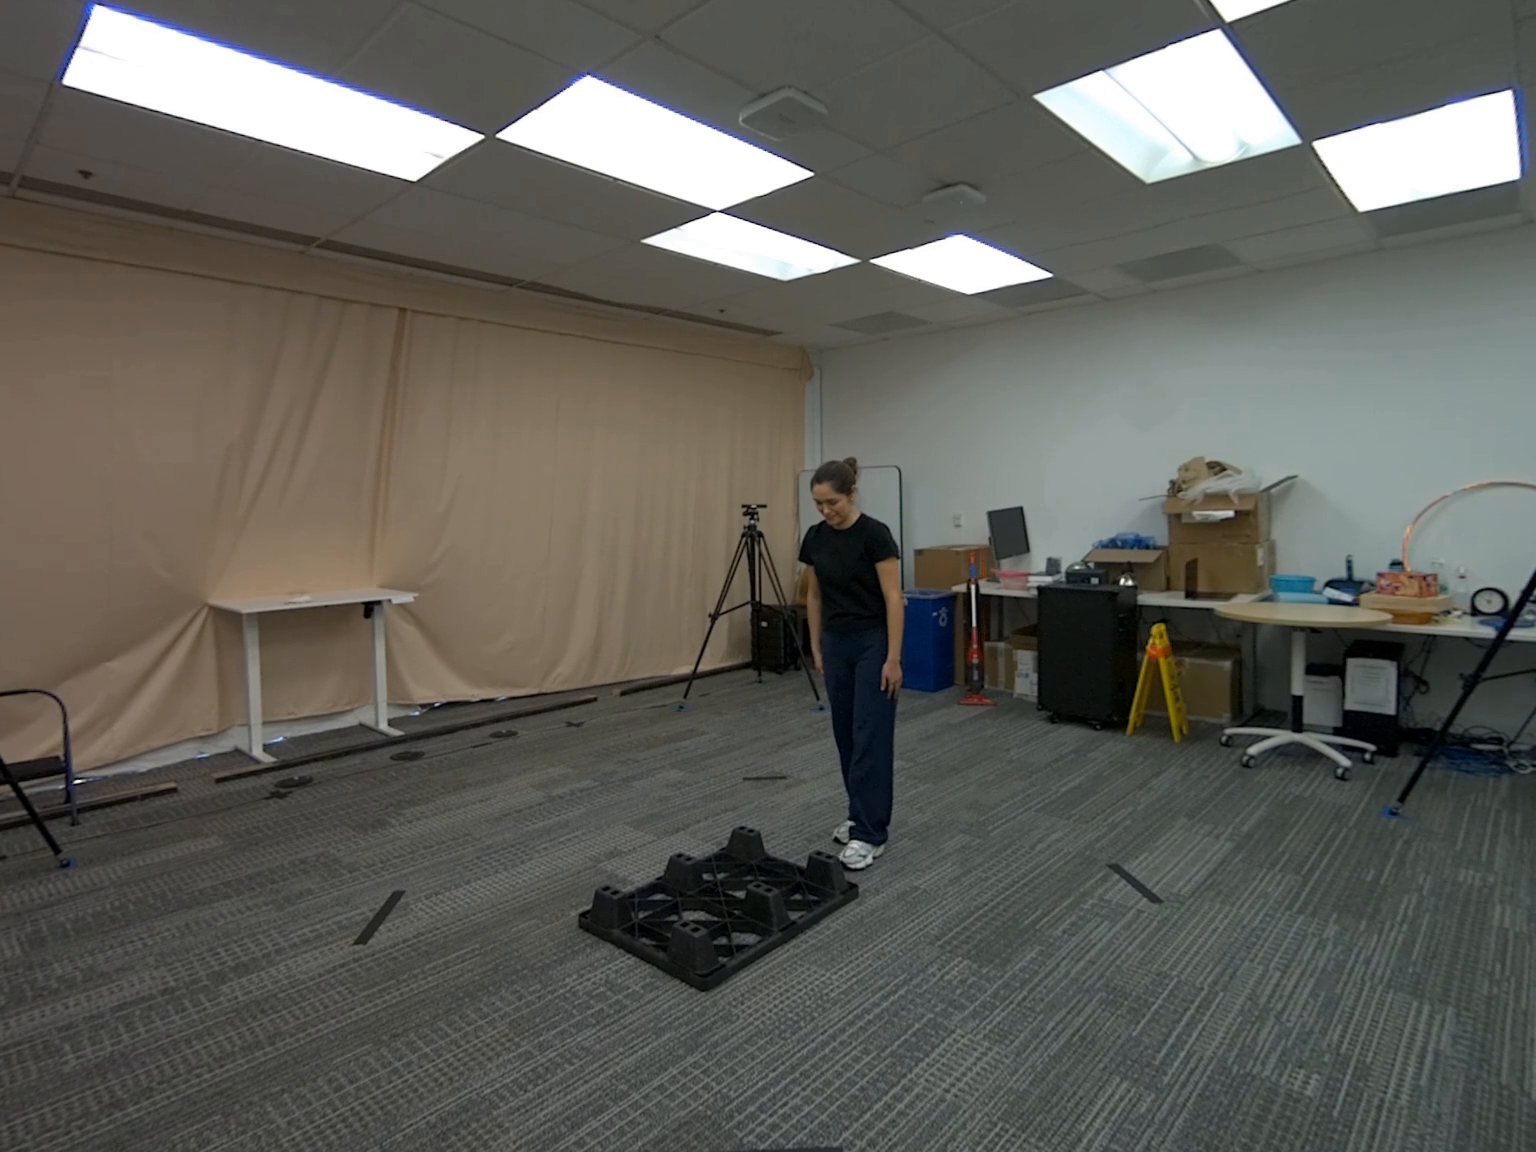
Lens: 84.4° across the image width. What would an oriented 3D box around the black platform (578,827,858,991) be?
[{"bbox_3d":[-0.141,1.085,2.886,0.625,0.143,0.782,3,7,41],"label":"black platform"}]
